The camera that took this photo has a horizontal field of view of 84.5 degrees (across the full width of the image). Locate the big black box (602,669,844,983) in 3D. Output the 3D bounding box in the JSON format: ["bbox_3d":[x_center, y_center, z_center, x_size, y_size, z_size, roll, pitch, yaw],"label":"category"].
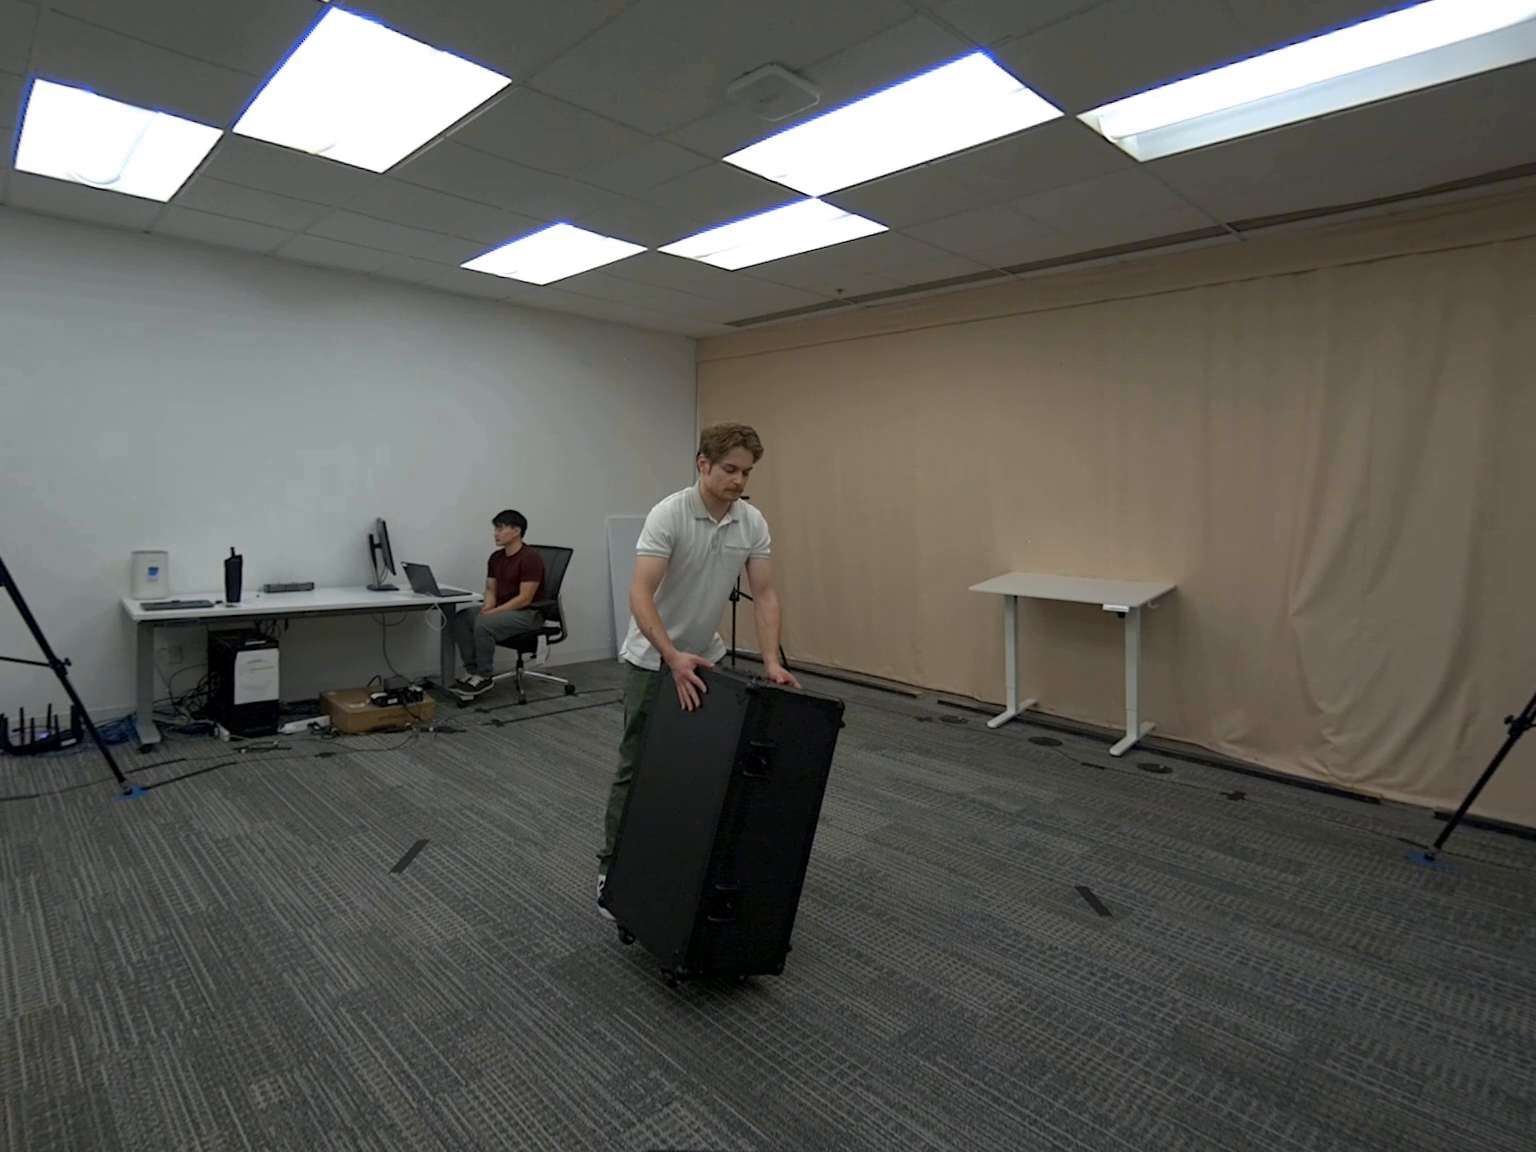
[{"bbox_3d":[-0.155,0.723,2.501,0.374,0.871,0.536,17,-6,-37],"label":"big black box"}]
